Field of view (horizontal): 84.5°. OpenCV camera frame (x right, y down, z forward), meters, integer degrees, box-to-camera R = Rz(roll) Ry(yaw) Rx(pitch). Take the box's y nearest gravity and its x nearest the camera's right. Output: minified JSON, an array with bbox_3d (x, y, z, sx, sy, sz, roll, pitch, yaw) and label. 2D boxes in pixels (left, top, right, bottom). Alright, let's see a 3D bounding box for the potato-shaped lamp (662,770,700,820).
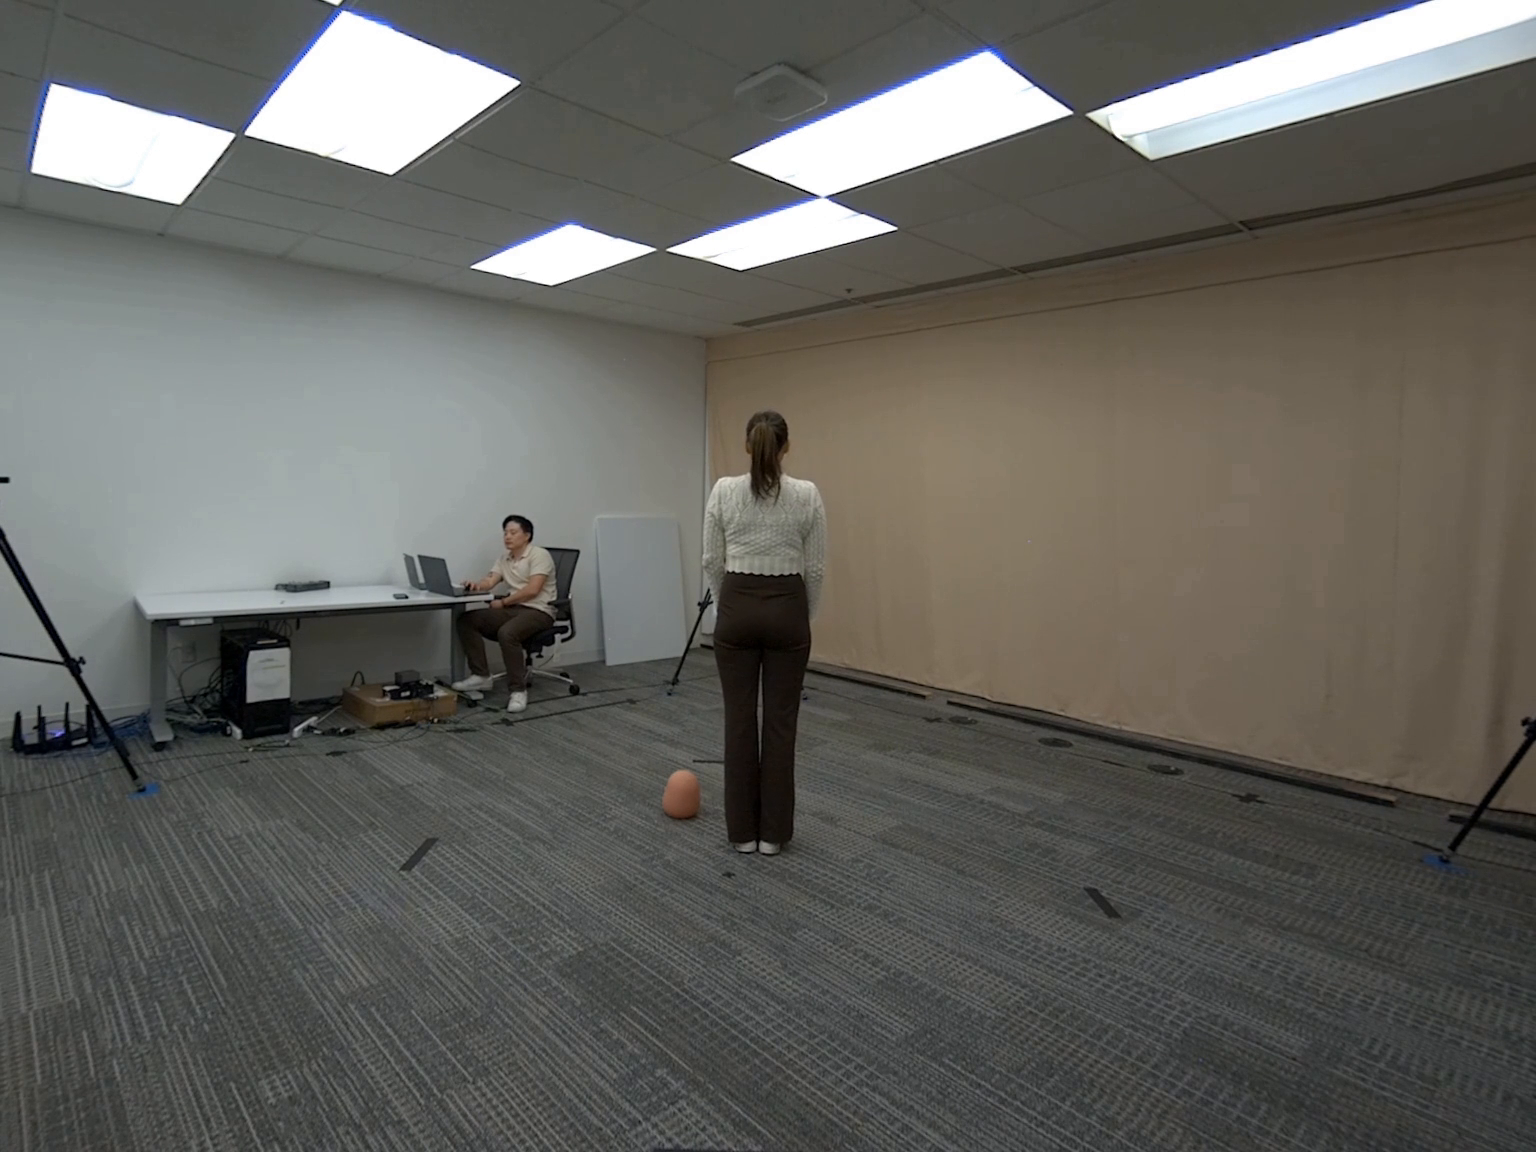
[{"bbox_3d":[-0.381,0.942,3.678,0.162,0.197,0.175,1,5,-23],"label":"potato-shaped lamp"}]
